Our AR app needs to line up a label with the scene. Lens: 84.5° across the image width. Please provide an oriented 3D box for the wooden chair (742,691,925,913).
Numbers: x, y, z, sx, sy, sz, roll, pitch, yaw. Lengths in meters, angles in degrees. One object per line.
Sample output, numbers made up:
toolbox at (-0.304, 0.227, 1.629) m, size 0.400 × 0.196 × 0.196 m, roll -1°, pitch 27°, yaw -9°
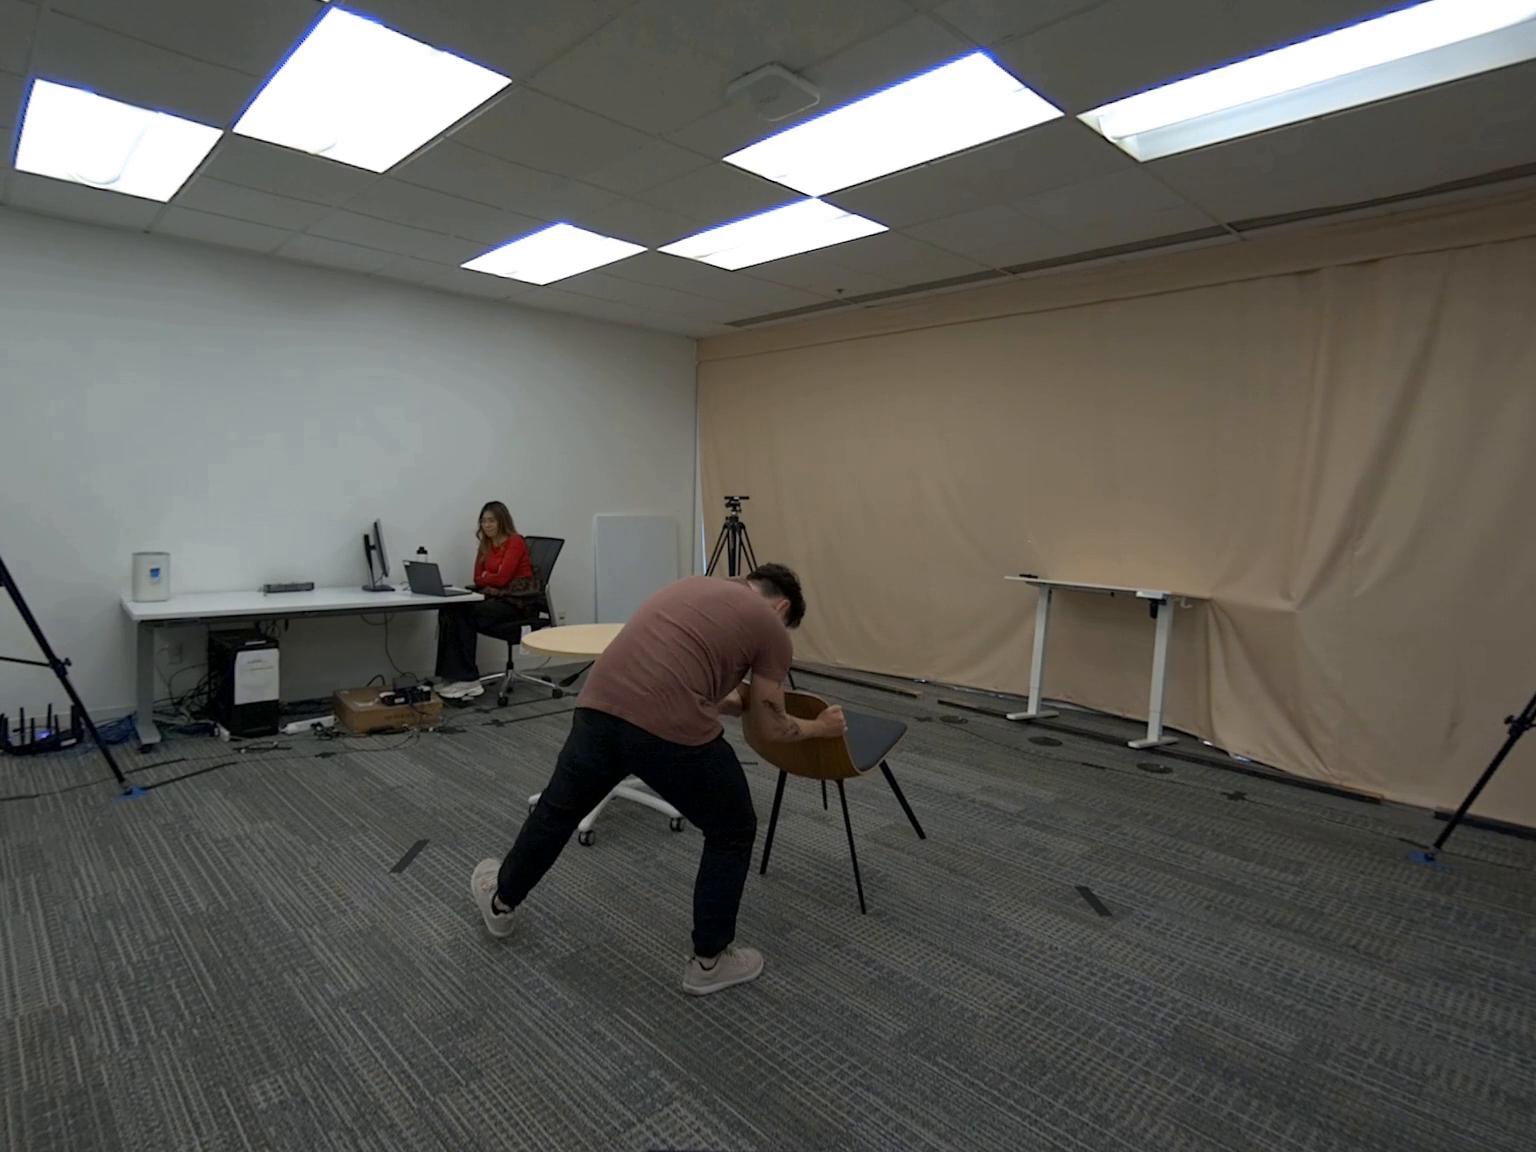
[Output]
wooden chair at (0.213, 0.642, 3.018) m, size 0.490 × 0.862 × 0.519 m, roll 4°, pitch 26°, yaw 39°
